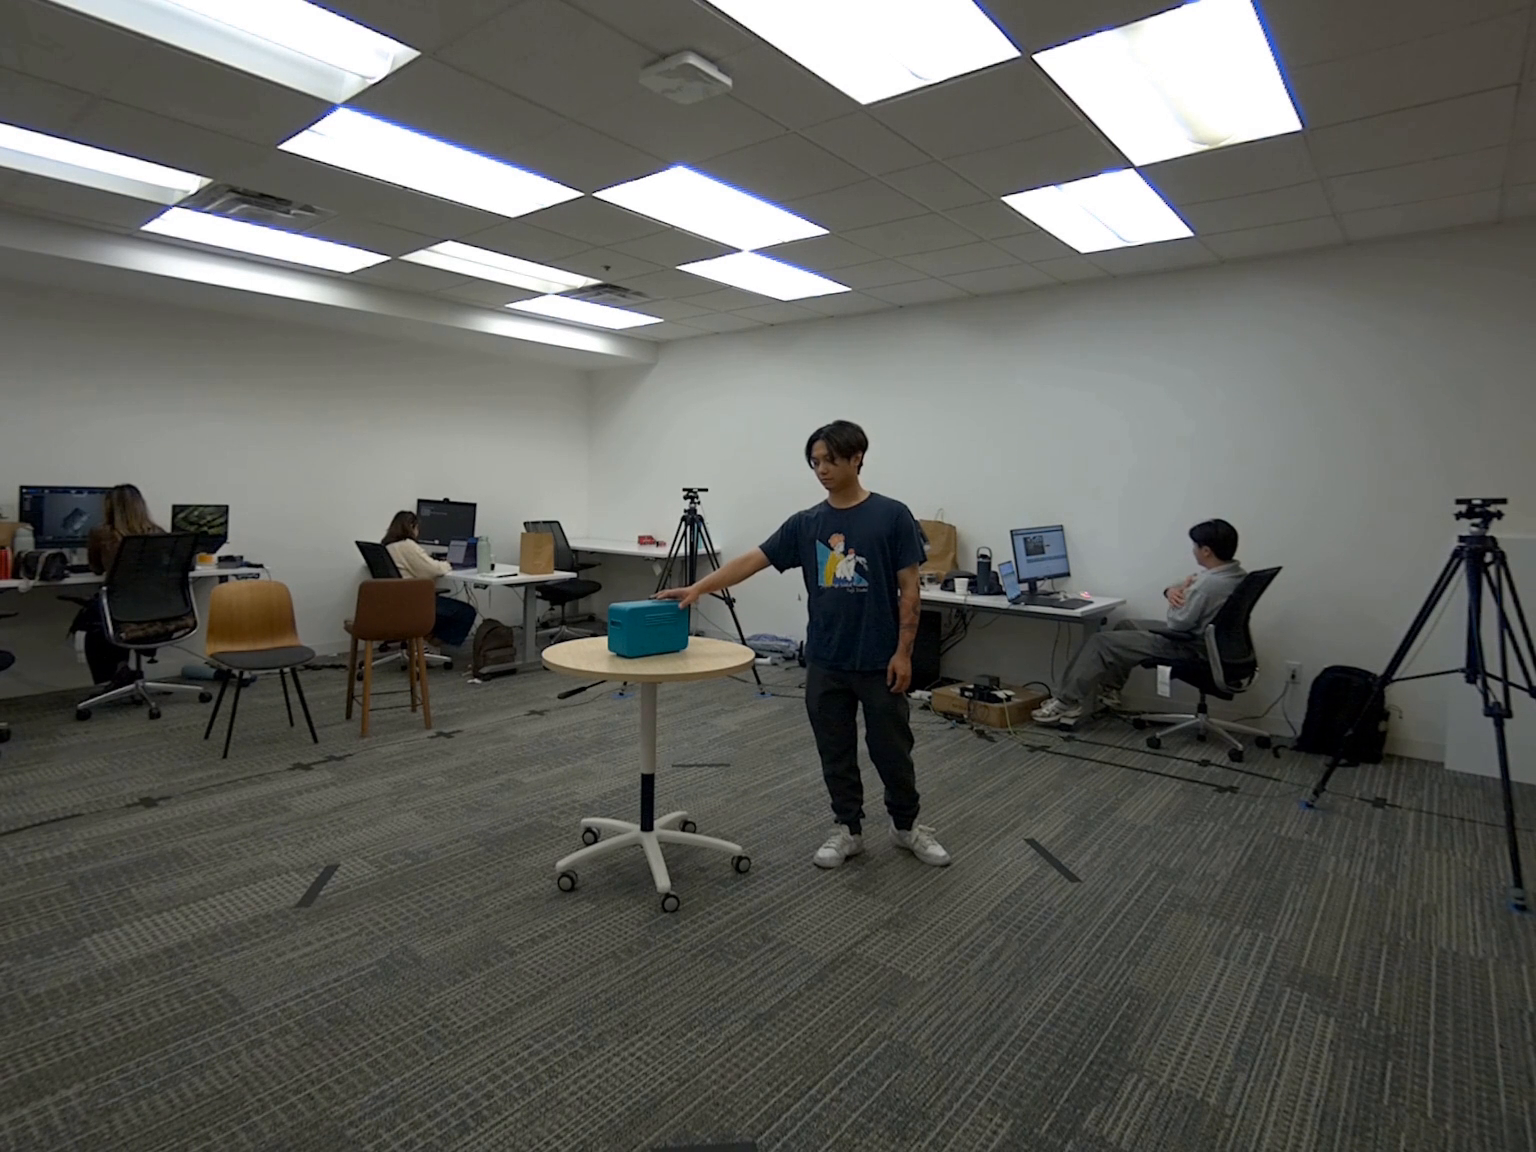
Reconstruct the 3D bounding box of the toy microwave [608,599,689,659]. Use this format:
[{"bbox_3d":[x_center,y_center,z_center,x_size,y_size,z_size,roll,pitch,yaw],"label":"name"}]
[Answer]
[{"bbox_3d":[-0.448,0.182,3.071,0.277,0.183,0.157,-3,5,-42],"label":"toy microwave"}]
